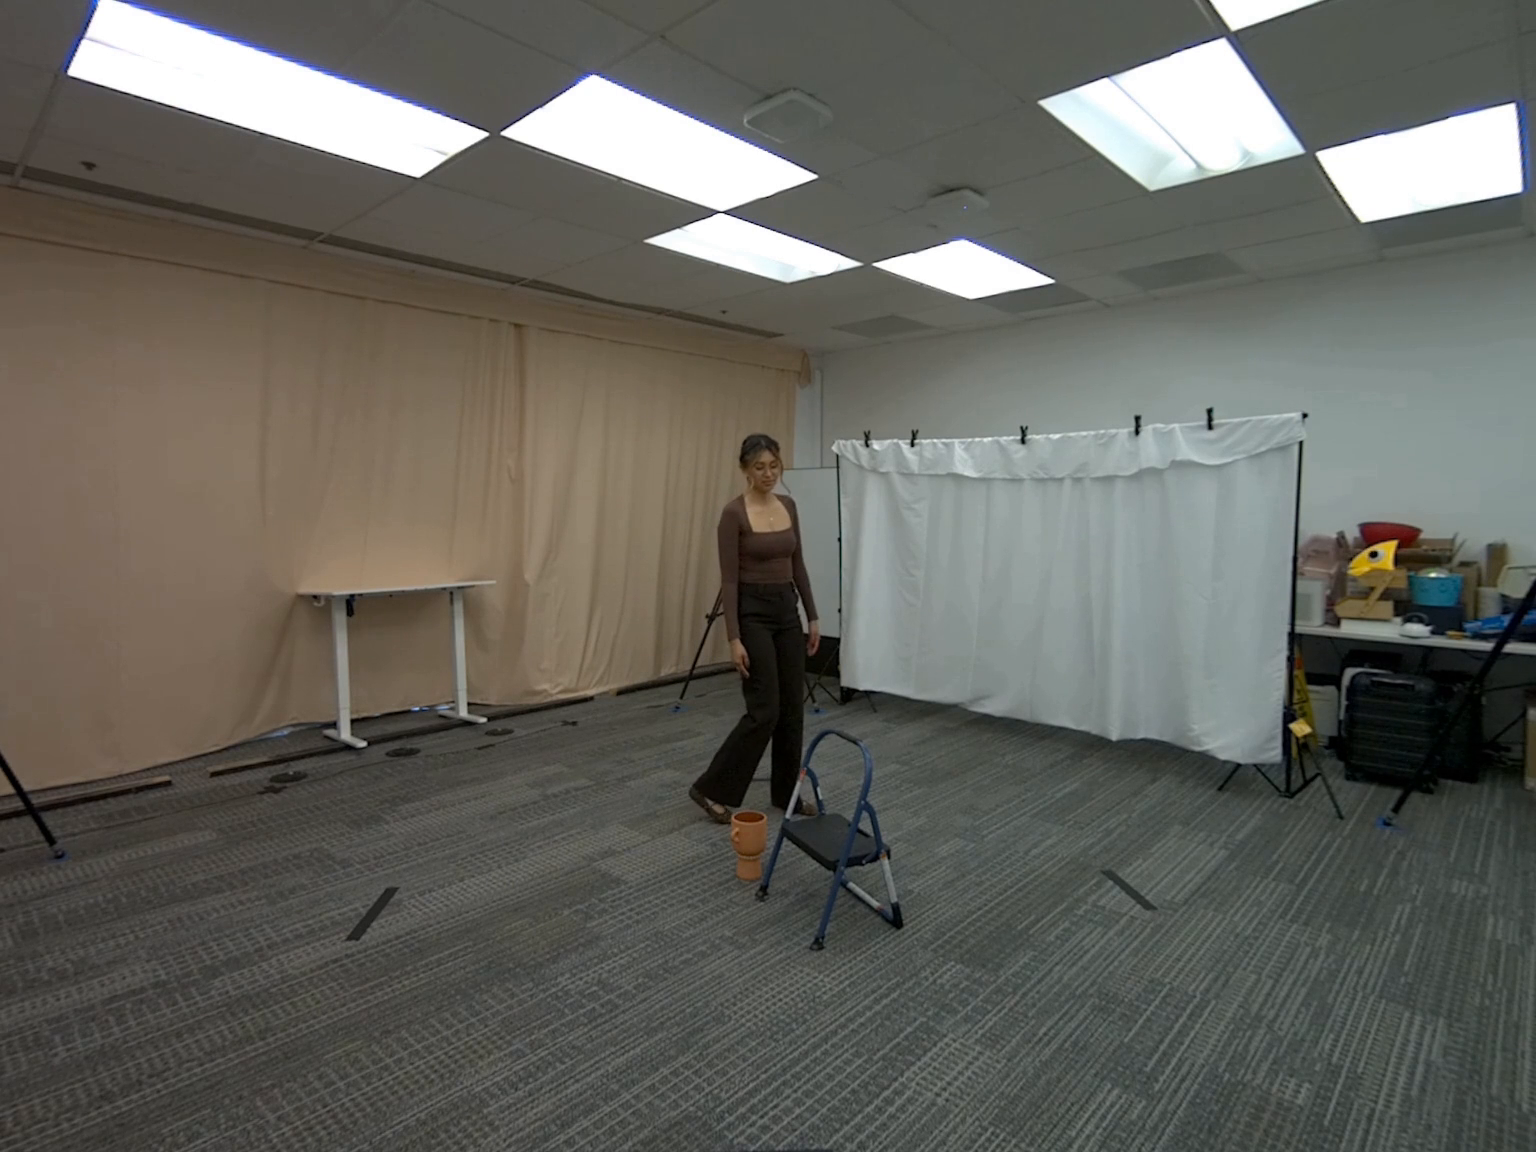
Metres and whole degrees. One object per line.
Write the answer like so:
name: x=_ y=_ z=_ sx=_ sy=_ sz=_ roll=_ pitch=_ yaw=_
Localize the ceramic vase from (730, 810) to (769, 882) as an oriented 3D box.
ceramic vase: x=-0.072 y=1.011 z=3.173 sx=0.157 sy=0.219 sz=0.137 roll=-2 pitch=5 yaw=-12
